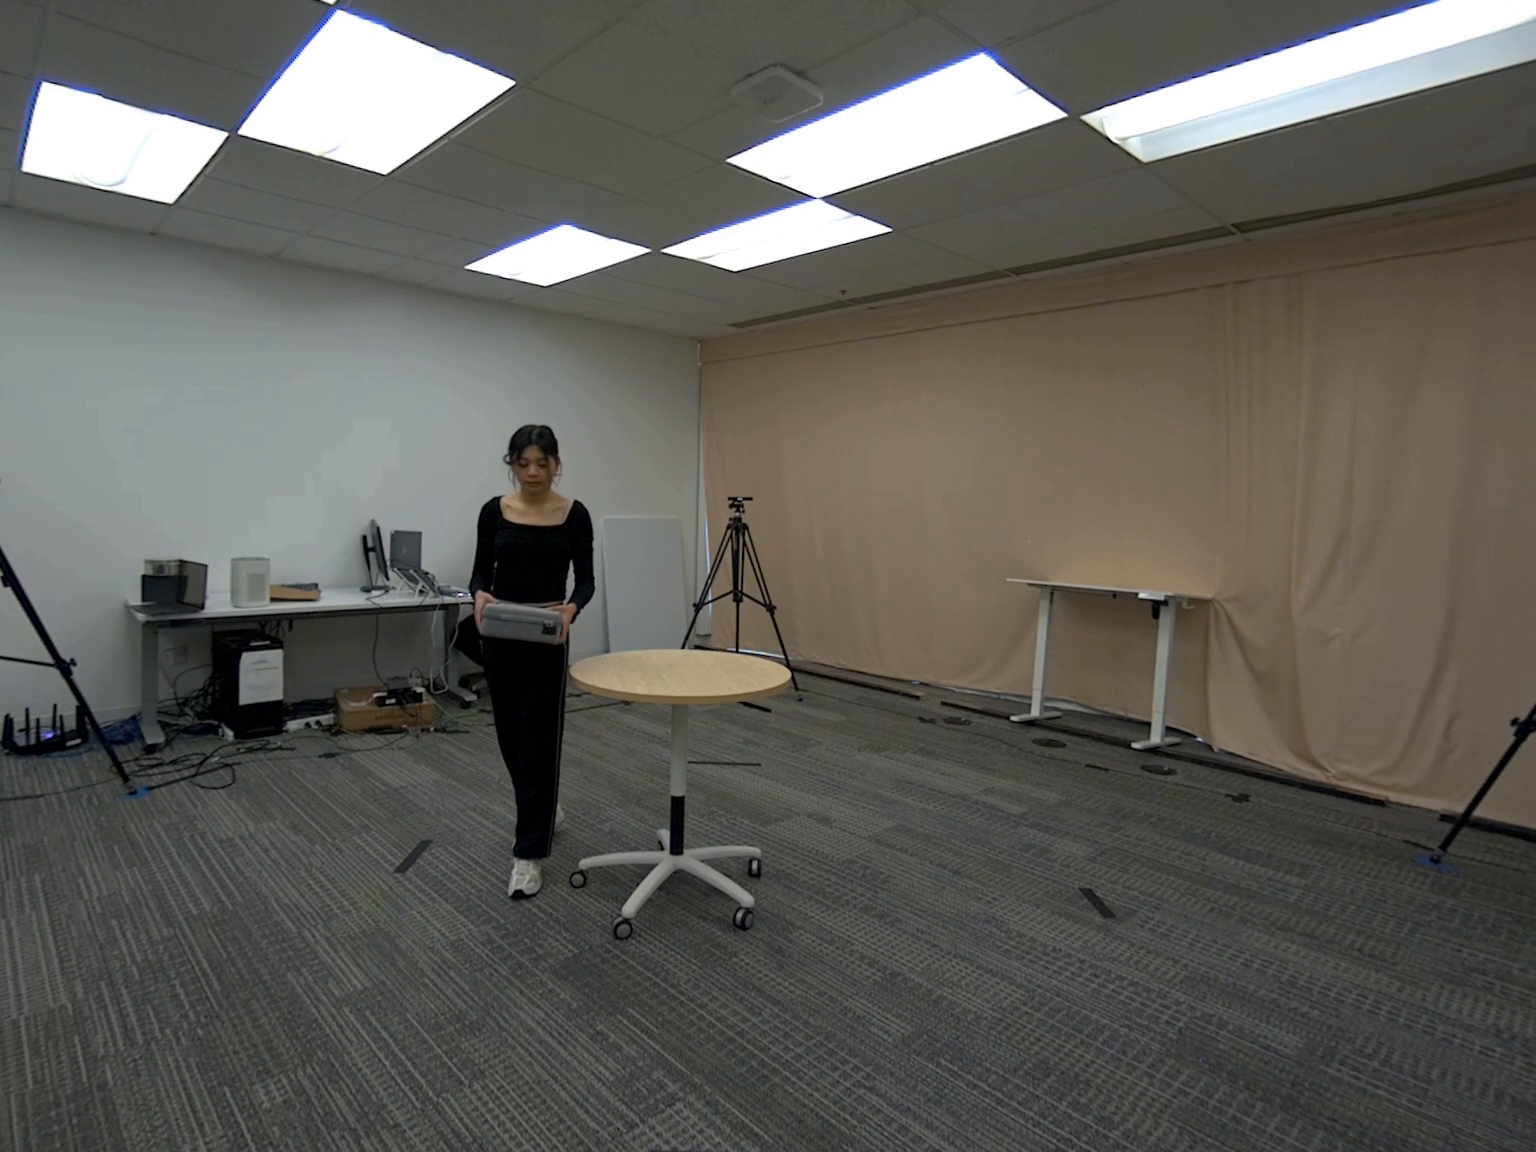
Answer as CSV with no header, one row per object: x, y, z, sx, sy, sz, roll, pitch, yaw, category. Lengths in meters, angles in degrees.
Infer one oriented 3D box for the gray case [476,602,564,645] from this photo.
-0.806,0.146,2.803,0.255,0.104,0.262,5,2,-7,gray case
